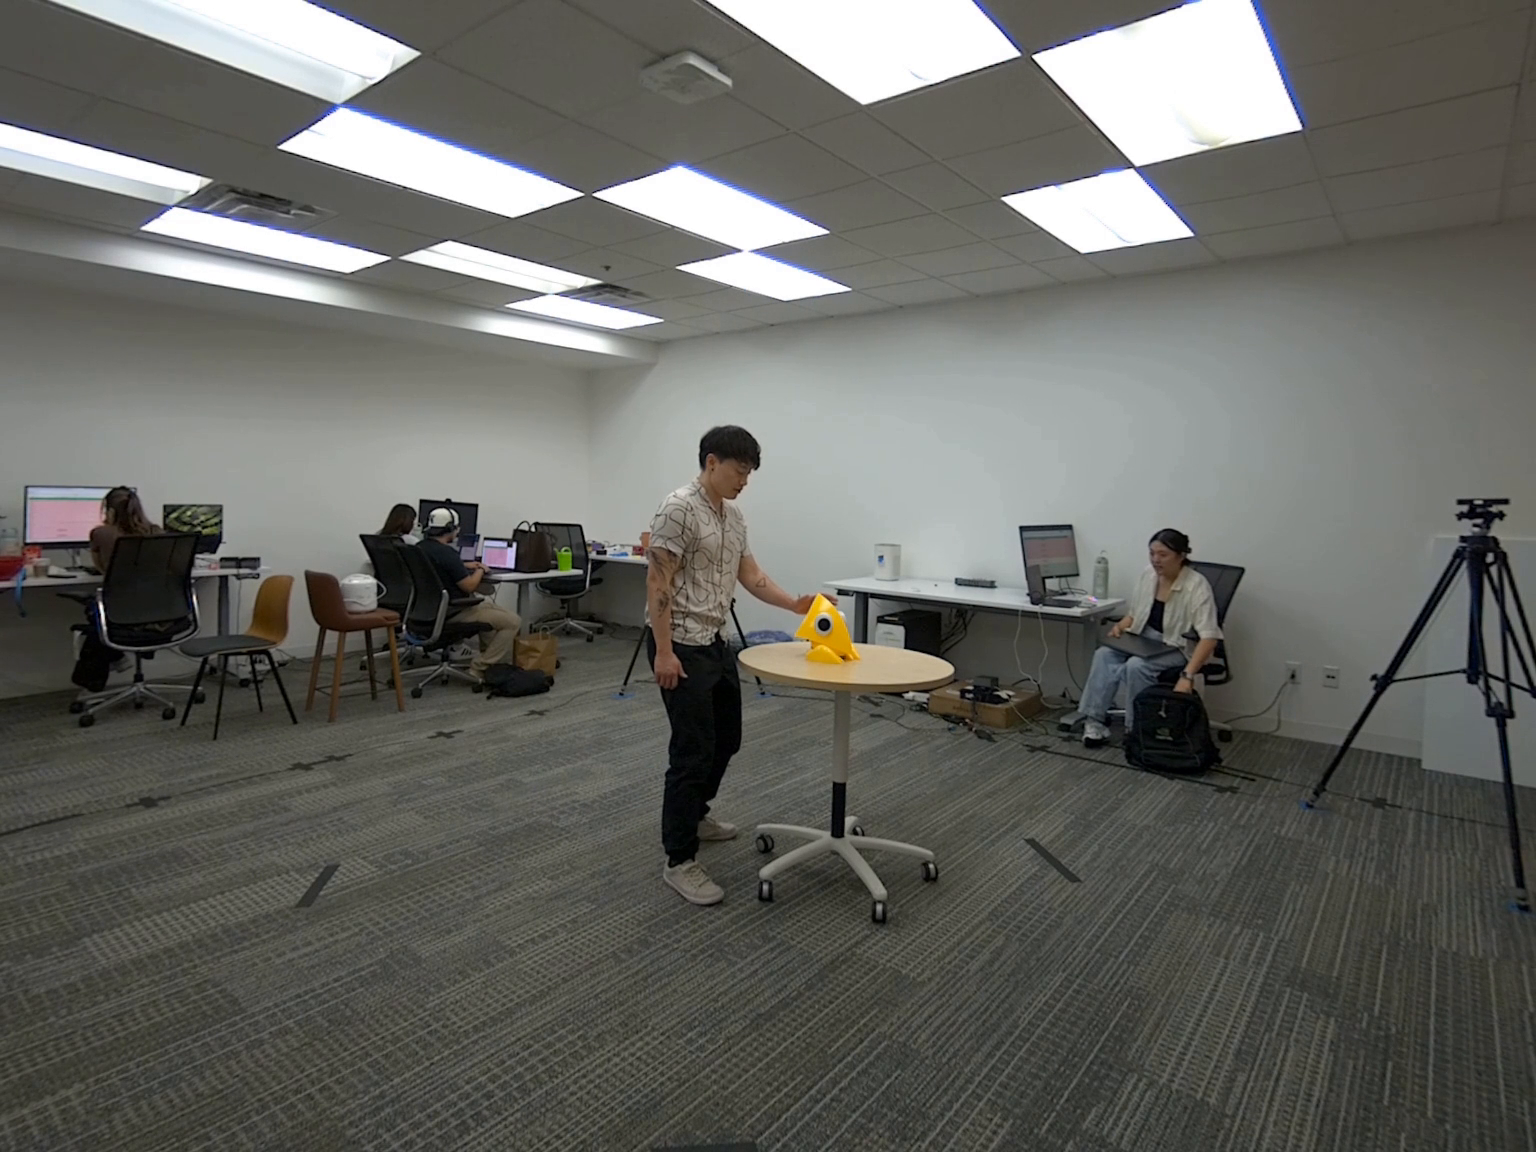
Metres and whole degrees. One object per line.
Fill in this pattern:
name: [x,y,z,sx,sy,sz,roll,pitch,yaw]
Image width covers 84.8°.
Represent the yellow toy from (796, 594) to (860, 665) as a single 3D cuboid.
yellow toy: [0.223,0.186,3.089,0.200,0.230,0.198,6,5,40]
